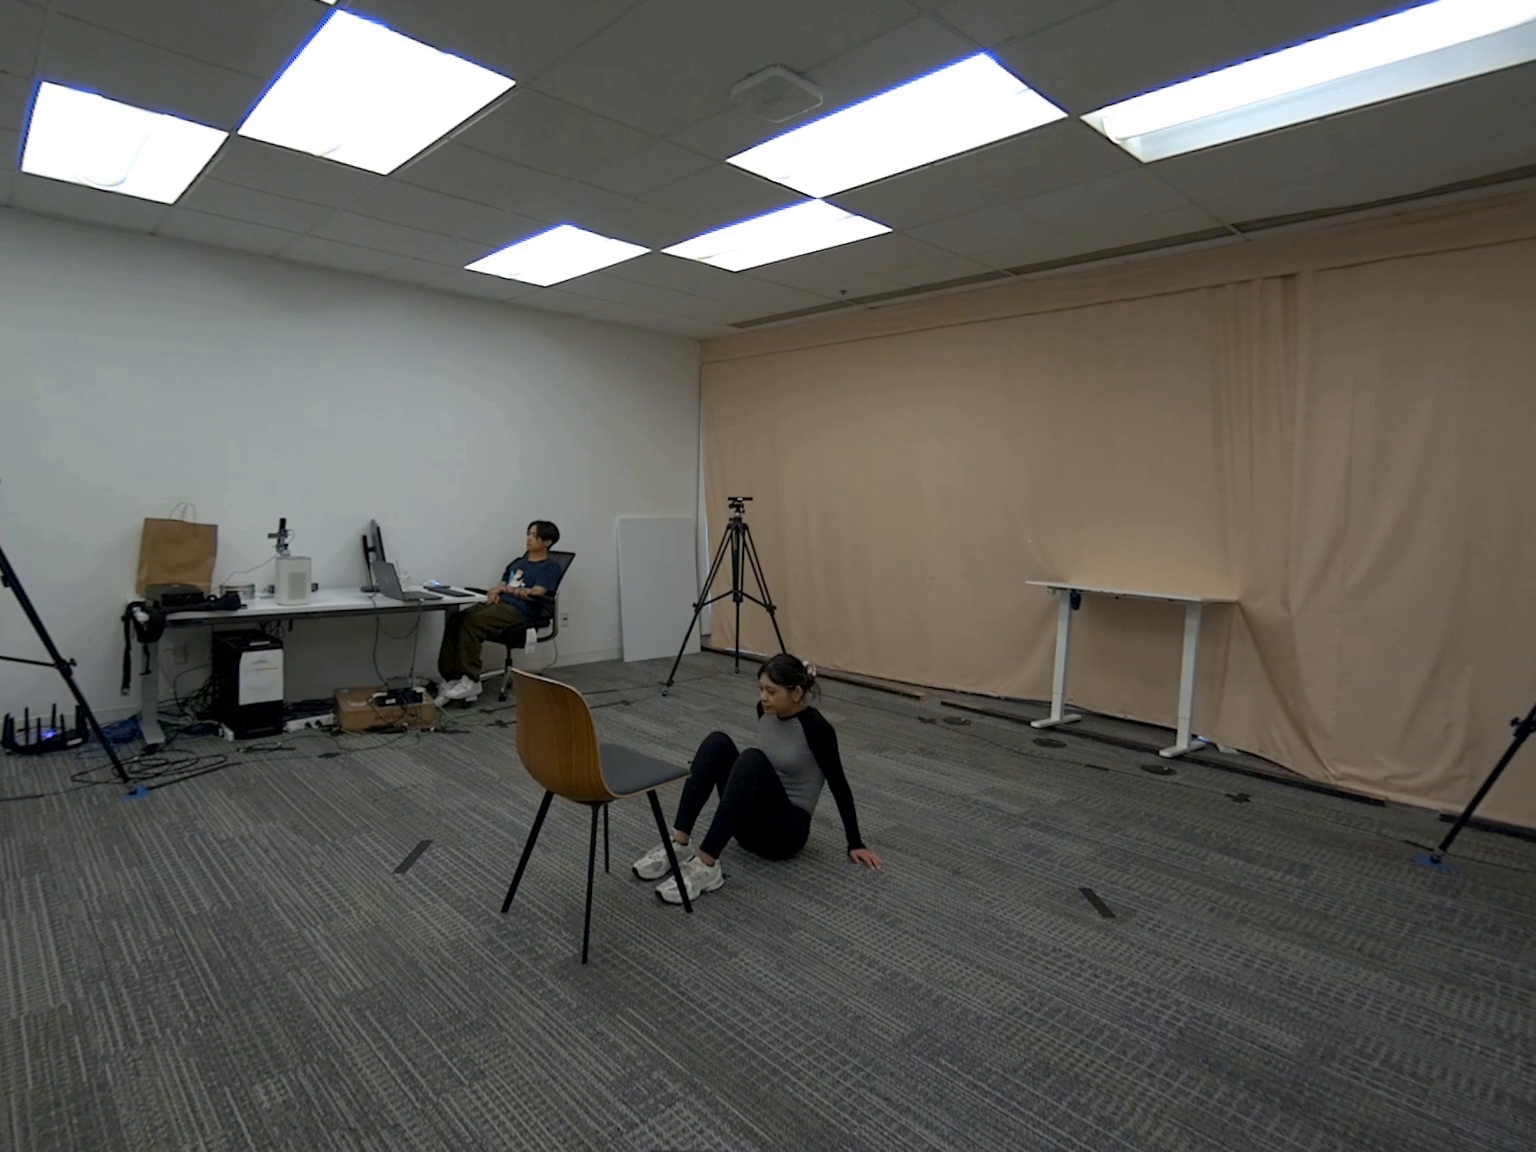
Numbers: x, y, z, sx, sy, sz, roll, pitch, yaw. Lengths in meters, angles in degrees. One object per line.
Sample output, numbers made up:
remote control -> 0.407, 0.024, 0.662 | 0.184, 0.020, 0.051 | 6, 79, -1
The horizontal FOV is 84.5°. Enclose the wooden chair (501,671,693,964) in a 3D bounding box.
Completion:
wooden chair -> -0.558, 0.698, 2.783 | 0.490, 0.873, 0.513 | 4, 9, 41
